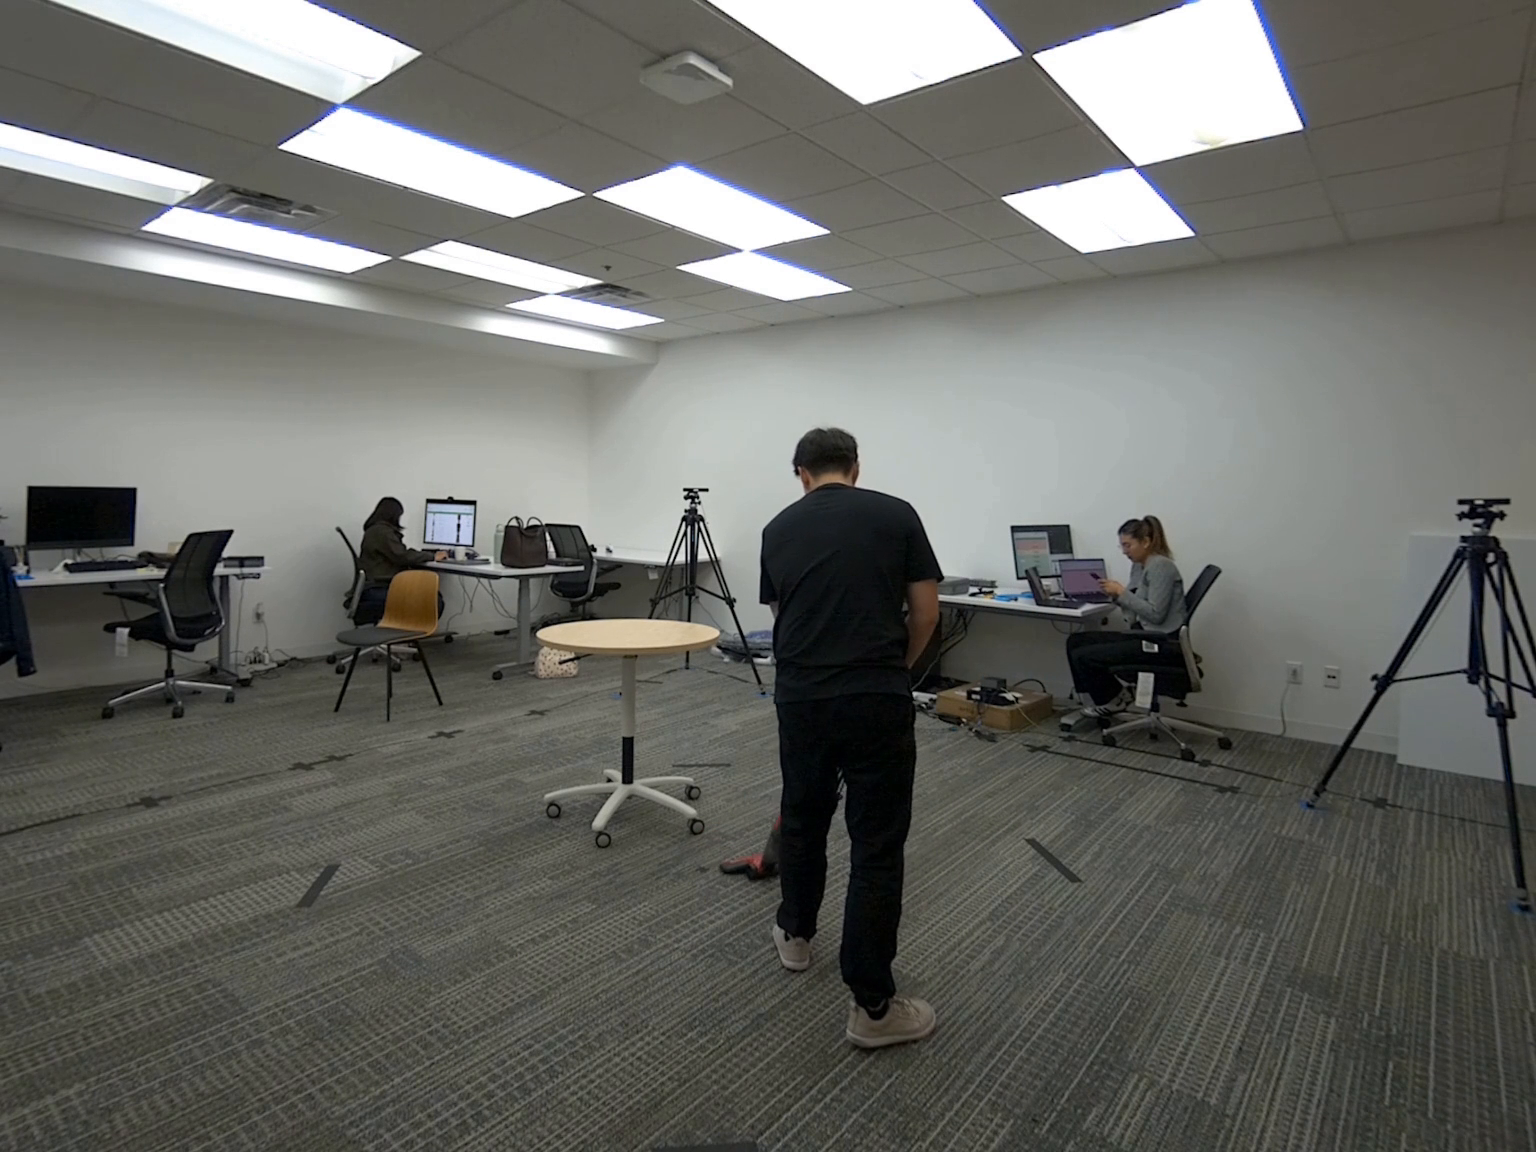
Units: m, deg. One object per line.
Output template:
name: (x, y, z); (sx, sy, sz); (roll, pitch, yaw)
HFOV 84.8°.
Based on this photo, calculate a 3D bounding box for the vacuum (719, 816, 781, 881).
vacuum: (0.143, 0.706, 2.797); (0.245, 1.039, 0.149); (3, 46, -30)
